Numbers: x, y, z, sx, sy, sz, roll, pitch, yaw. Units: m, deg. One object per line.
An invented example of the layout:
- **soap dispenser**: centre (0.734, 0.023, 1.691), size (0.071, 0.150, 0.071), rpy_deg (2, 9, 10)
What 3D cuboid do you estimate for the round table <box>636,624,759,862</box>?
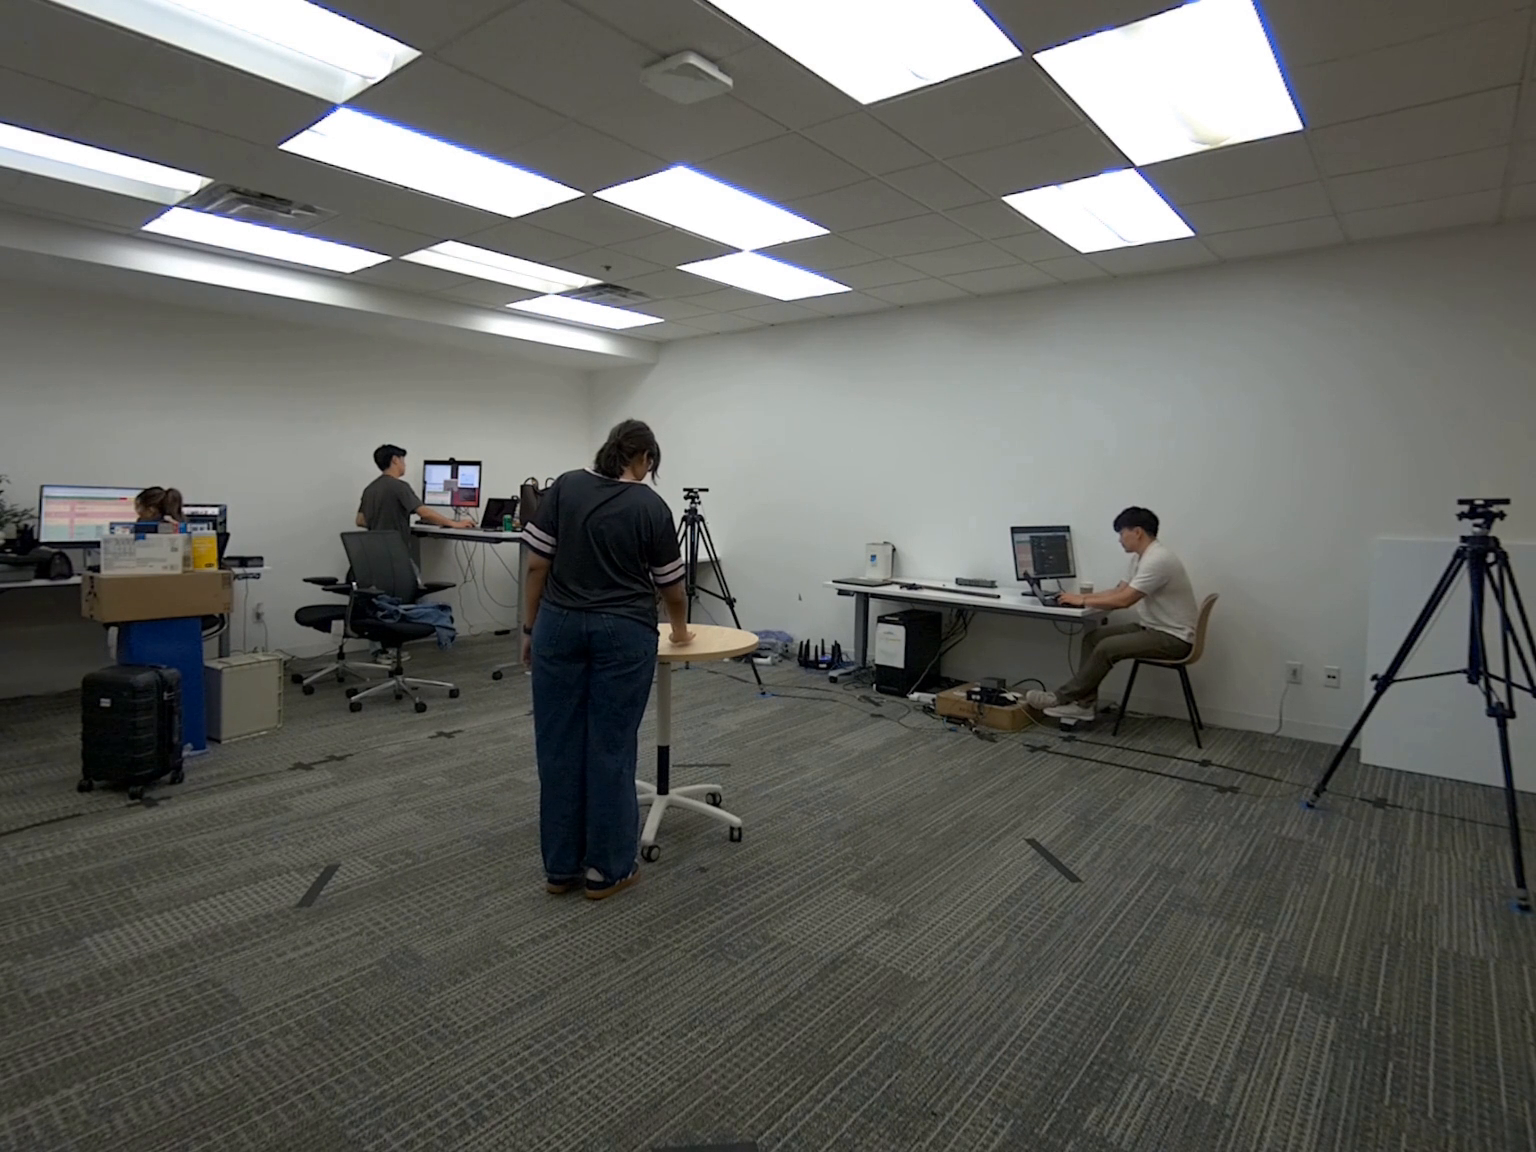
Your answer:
- **round table**: centre (-0.448, 0.638, 3.484), size (0.784, 0.784, 0.789), rpy_deg (1, 4, -2)
